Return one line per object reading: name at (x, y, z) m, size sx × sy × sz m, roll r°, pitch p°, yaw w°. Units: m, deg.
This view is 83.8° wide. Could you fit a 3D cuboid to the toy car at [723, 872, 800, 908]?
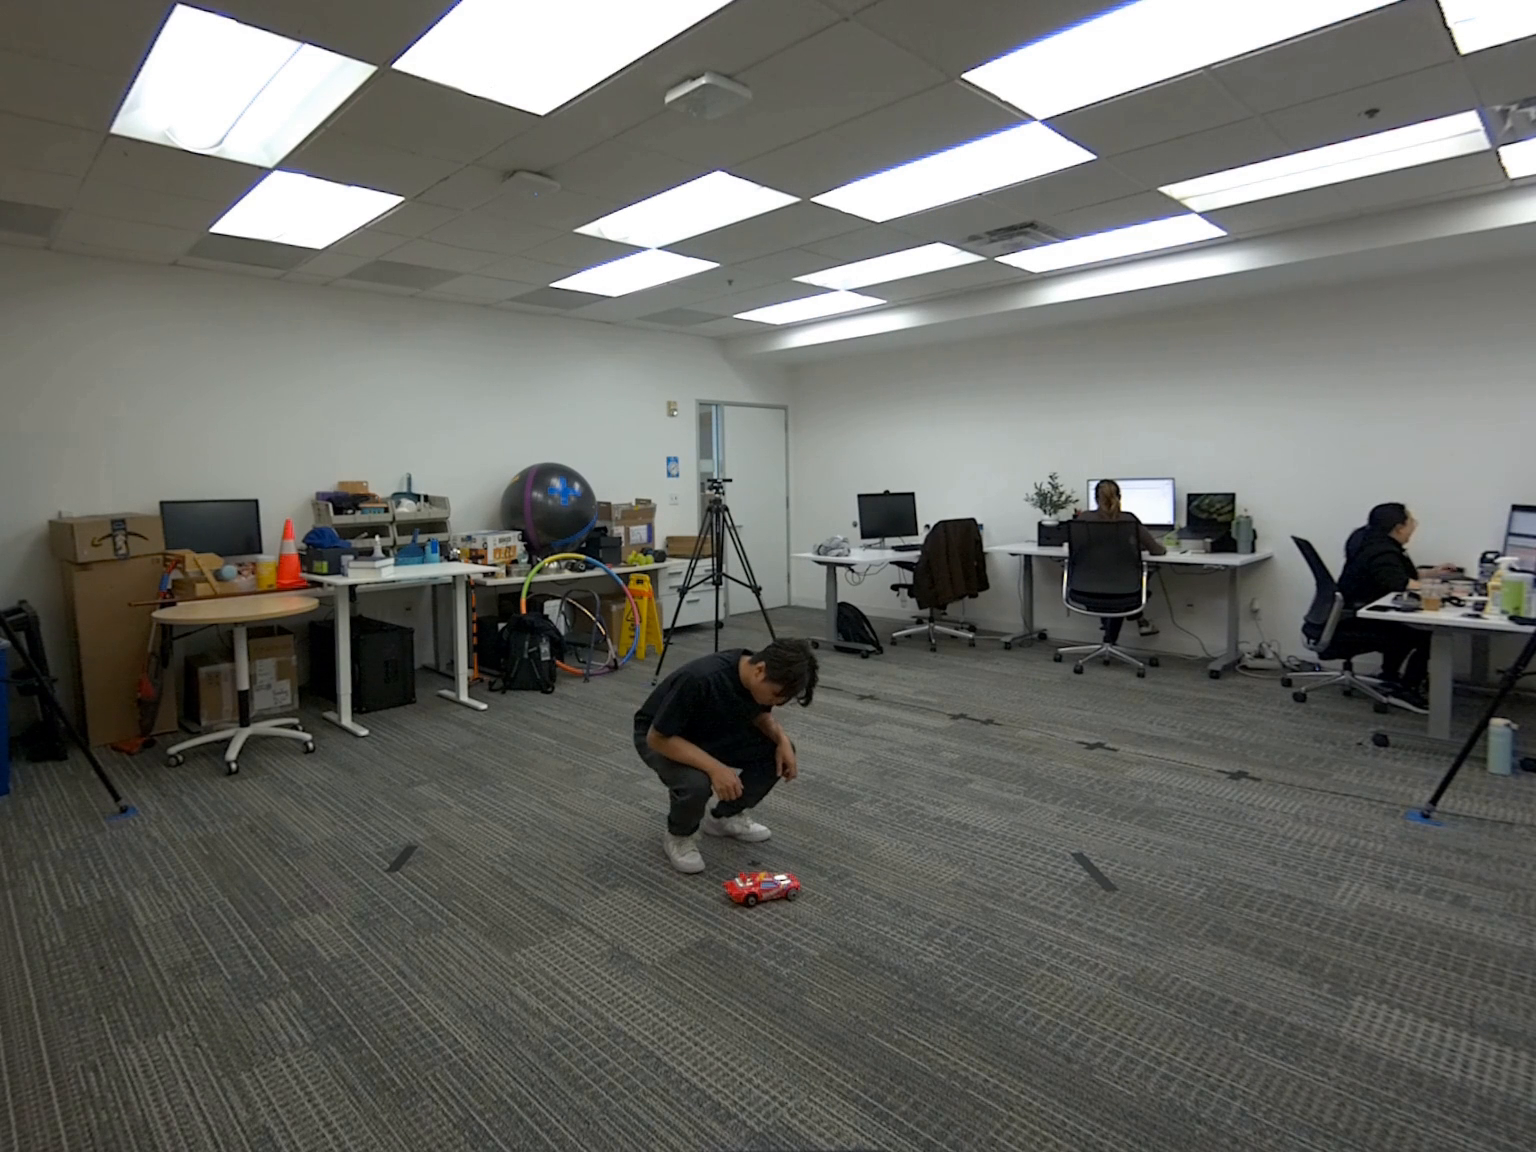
toy car at (-0.027, 1.050, 2.854) m, size 0.250 × 0.083 × 0.133 m, roll 8°, pitch 3°, yaw -17°
